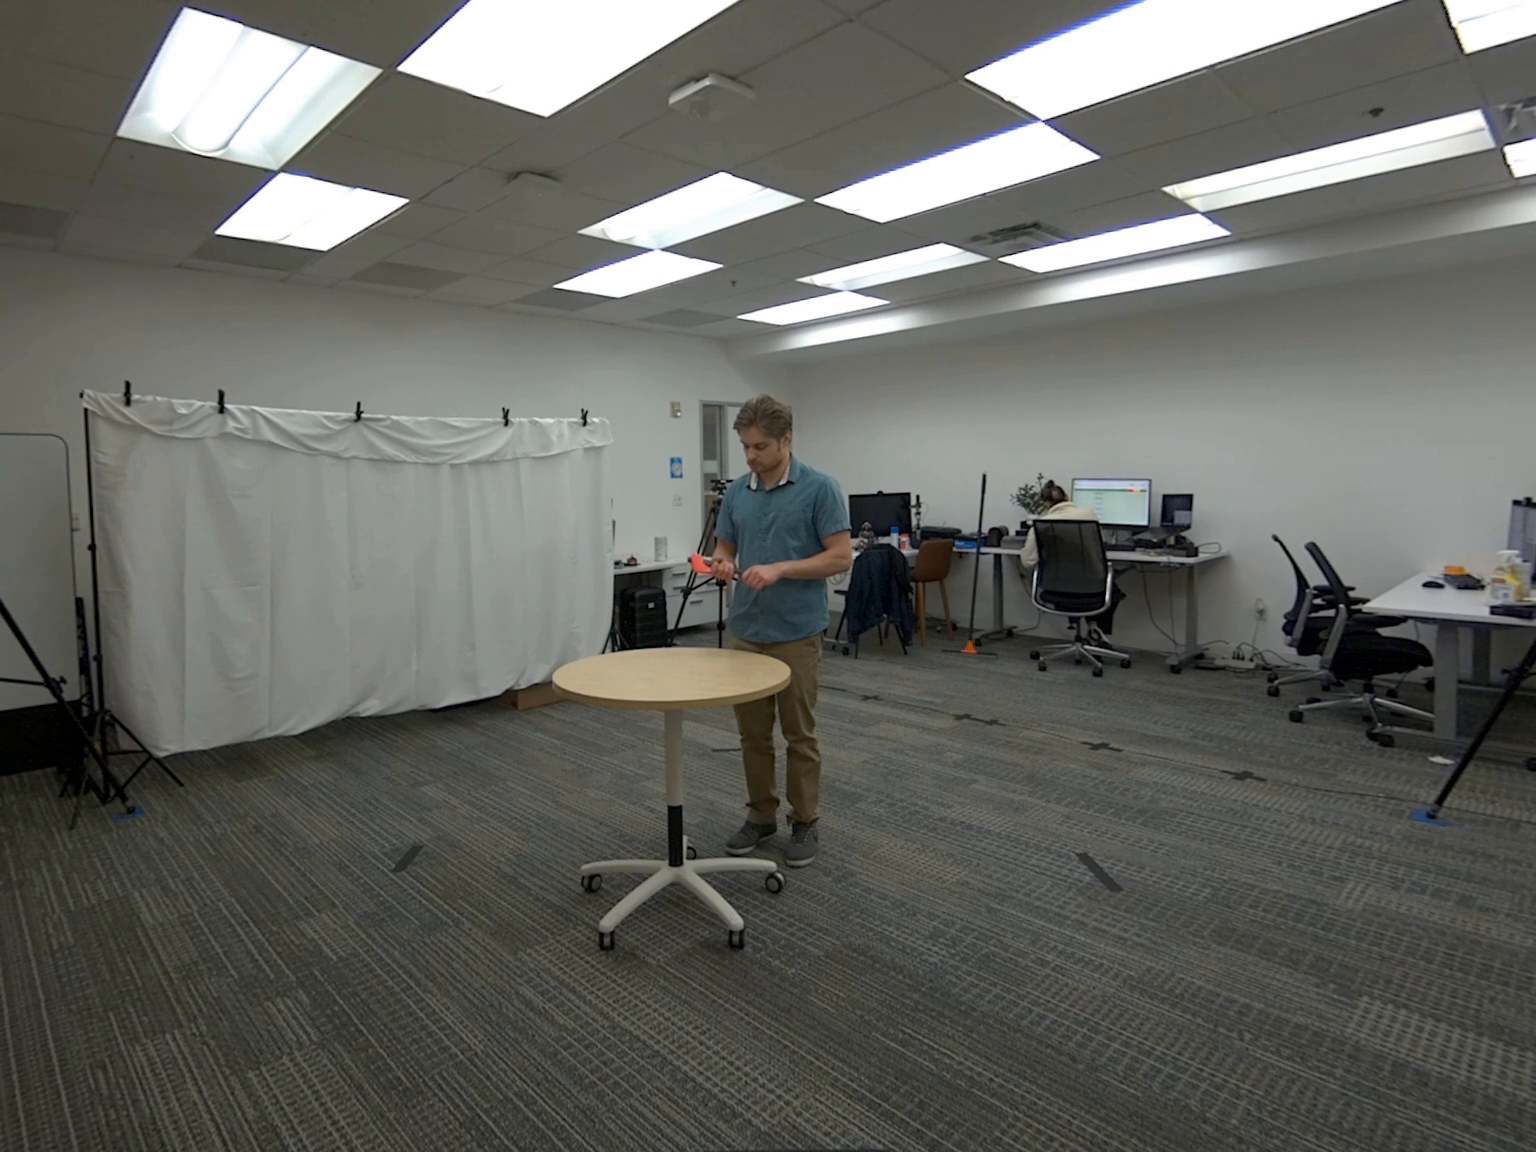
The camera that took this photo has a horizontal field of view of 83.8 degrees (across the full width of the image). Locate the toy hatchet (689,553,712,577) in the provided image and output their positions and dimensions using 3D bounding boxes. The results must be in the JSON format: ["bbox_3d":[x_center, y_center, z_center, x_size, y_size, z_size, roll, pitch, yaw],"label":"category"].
[{"bbox_3d":[-0.145,-0.019,2.950,0.273,0.029,0.132,17,28,7],"label":"toy hatchet"}]
